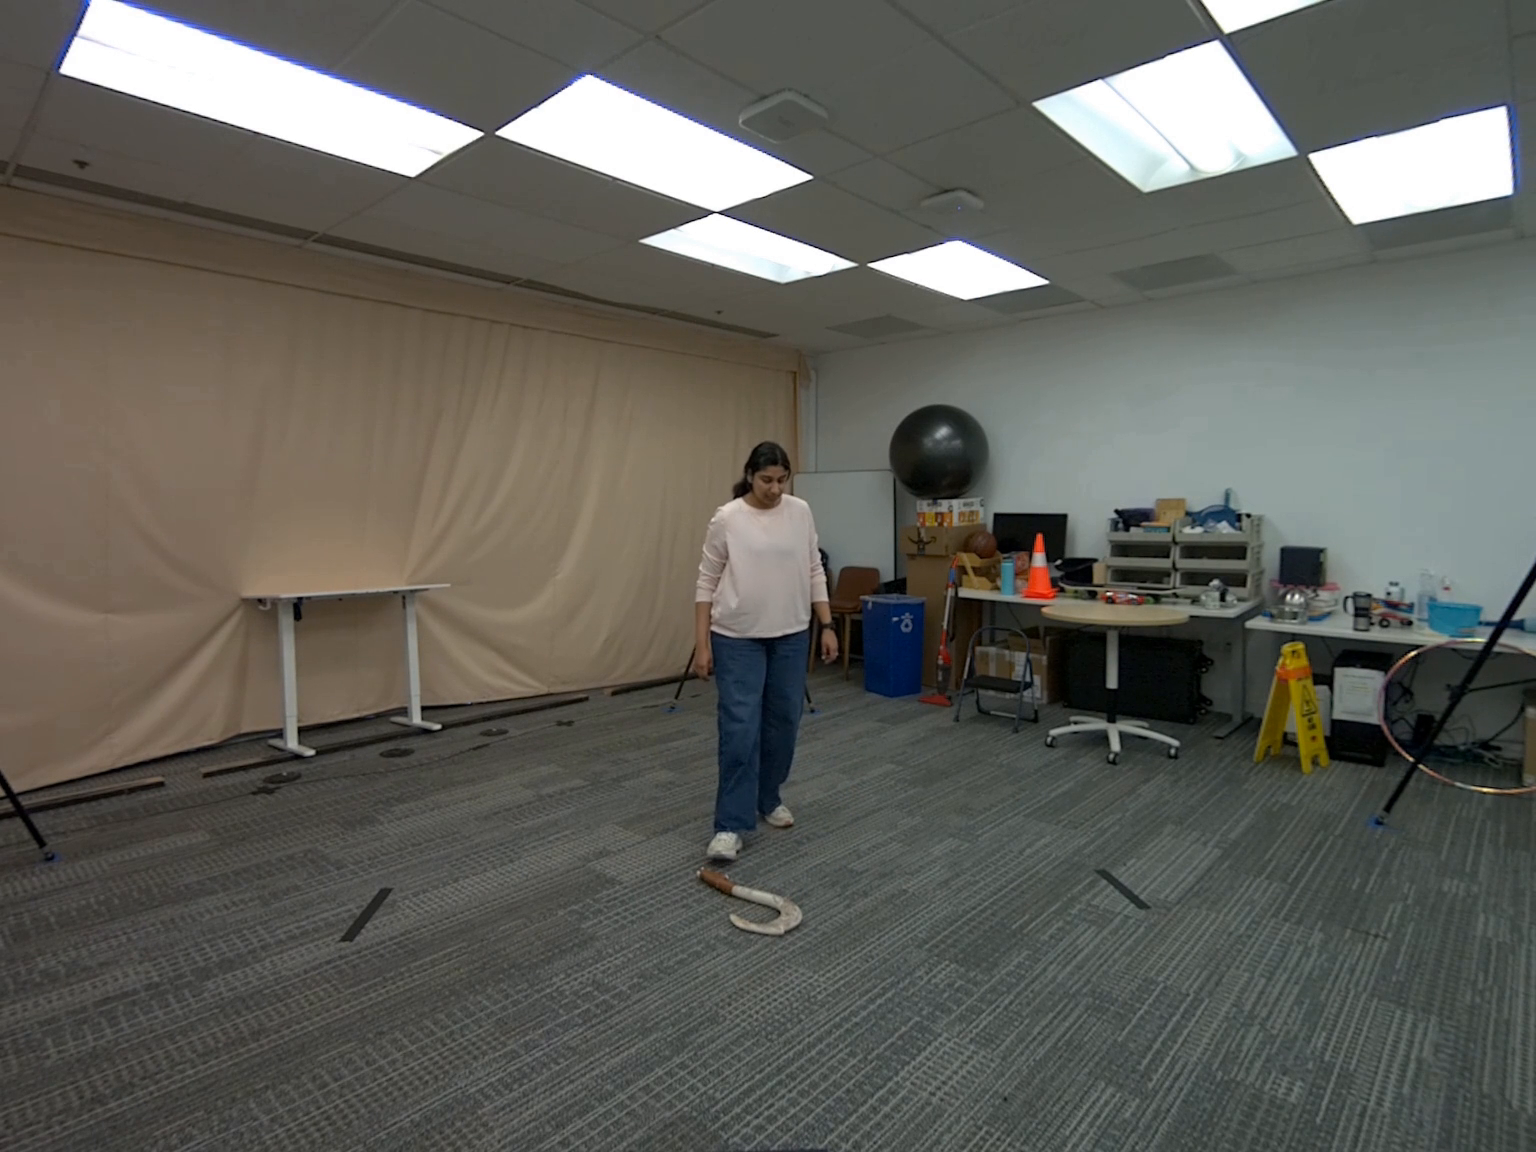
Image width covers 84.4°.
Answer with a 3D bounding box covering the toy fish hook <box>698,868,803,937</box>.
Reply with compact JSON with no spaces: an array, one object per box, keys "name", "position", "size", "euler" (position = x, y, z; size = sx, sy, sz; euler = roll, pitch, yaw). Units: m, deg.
[{"name":"toy fish hook","position":[-0.108,1.121,2.930],"size":[0.218,0.048,0.523],"euler":[-3,5,-45]}]
